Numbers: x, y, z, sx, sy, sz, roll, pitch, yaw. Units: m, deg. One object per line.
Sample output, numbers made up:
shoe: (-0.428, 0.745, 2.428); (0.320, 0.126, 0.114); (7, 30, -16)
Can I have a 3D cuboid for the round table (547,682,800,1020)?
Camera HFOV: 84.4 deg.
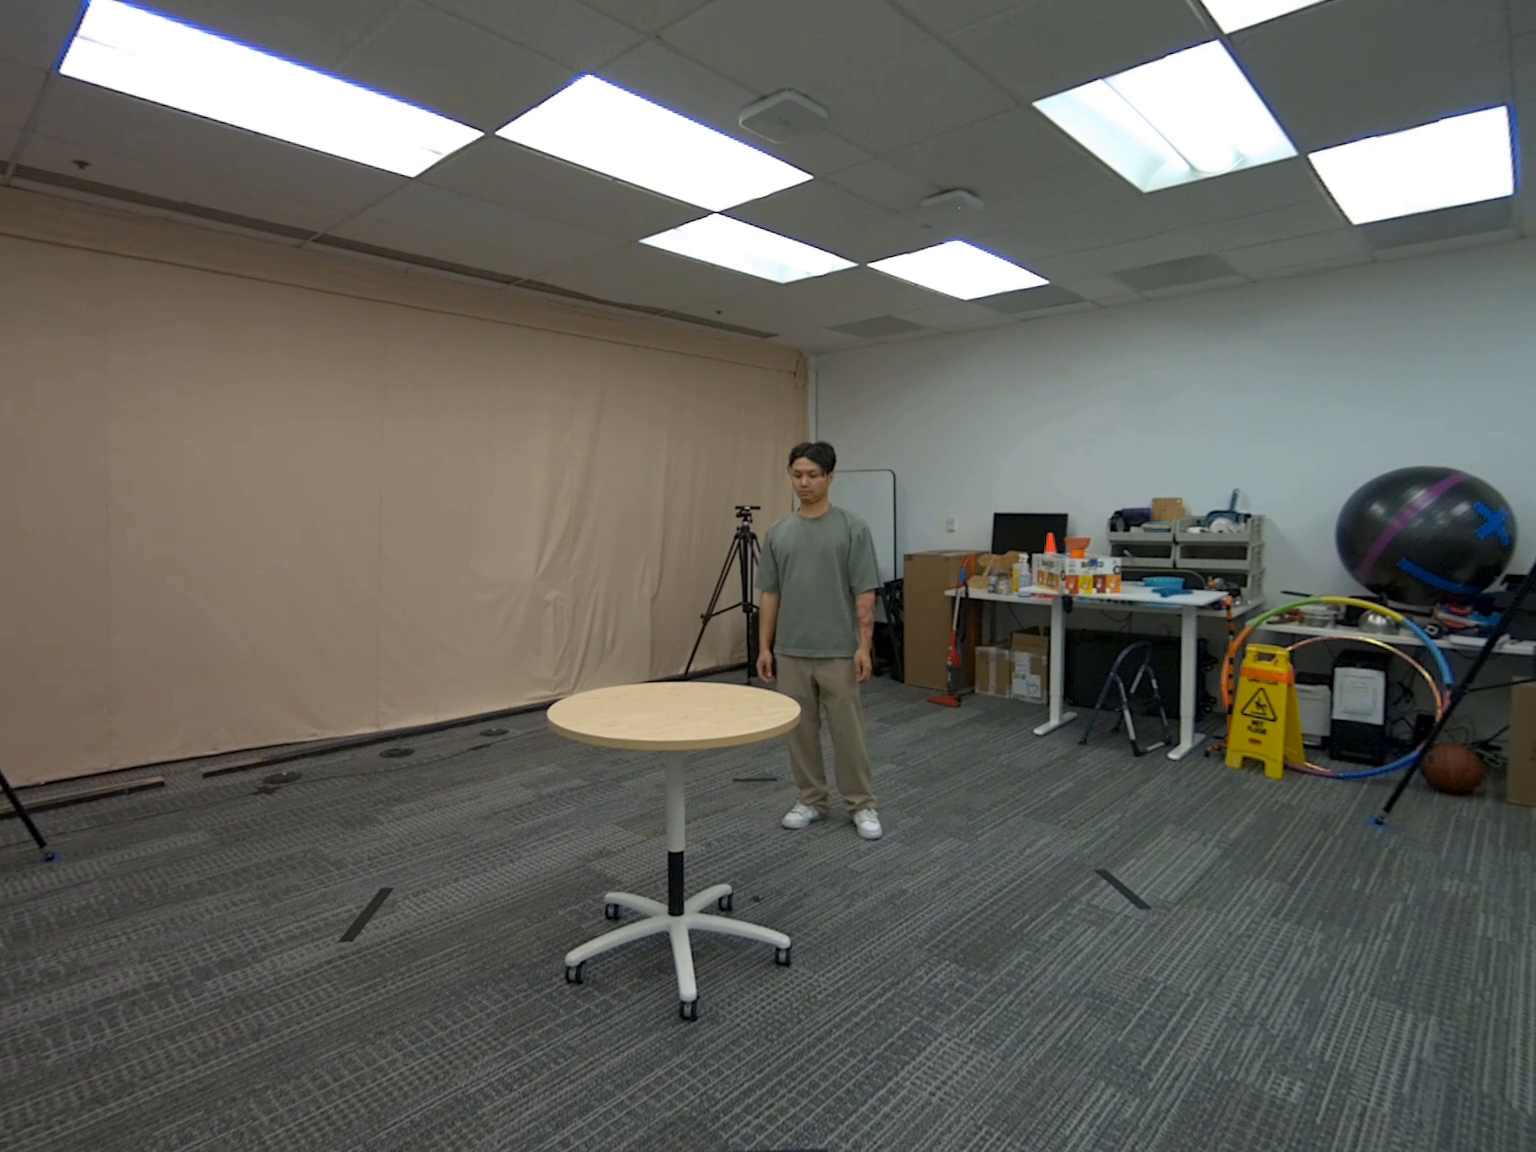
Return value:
round table: (-0.267, 0.790, 2.579); (0.784, 0.785, 0.788); (-1, 4, -2)
